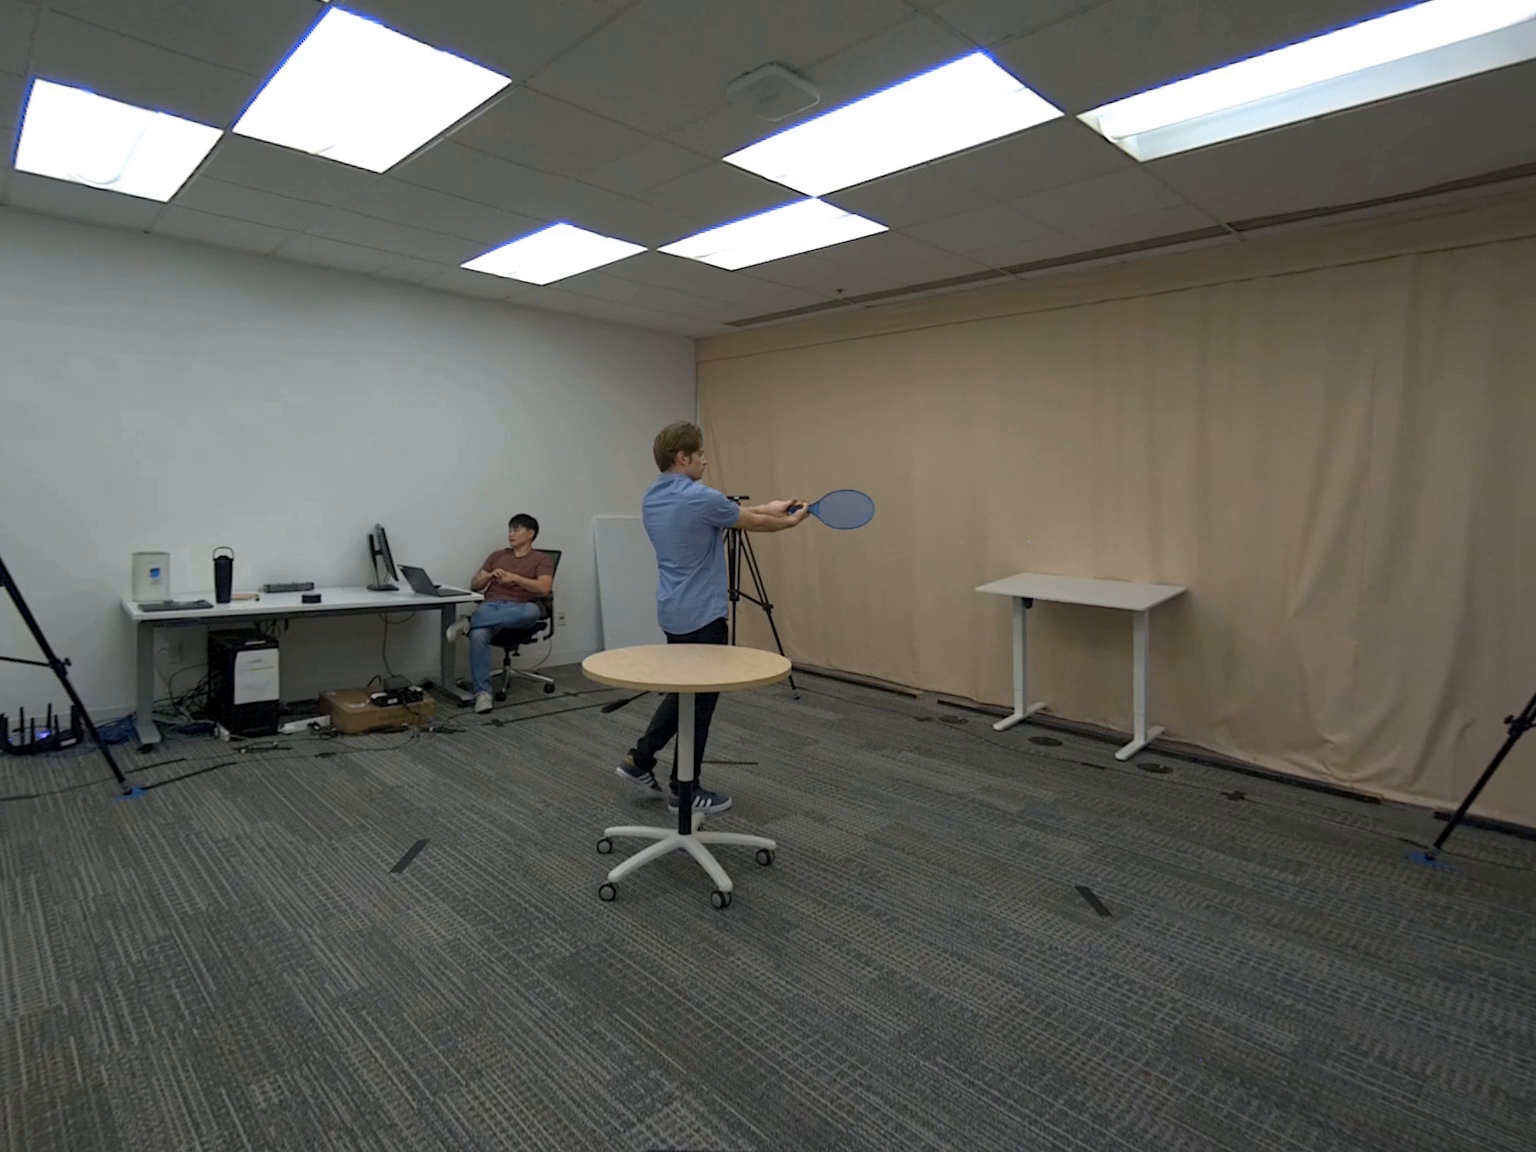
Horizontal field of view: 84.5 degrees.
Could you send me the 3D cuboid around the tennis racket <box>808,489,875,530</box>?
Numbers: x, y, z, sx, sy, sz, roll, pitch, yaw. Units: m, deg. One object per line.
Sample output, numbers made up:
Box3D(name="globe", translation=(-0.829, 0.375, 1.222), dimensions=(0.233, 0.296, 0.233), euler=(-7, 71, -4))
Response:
Box3D(name="tennis racket", translation=(0.263, -0.315, 3.891), dimensions=(0.438, 0.216, 0.031), euler=(3, -22, 14))
